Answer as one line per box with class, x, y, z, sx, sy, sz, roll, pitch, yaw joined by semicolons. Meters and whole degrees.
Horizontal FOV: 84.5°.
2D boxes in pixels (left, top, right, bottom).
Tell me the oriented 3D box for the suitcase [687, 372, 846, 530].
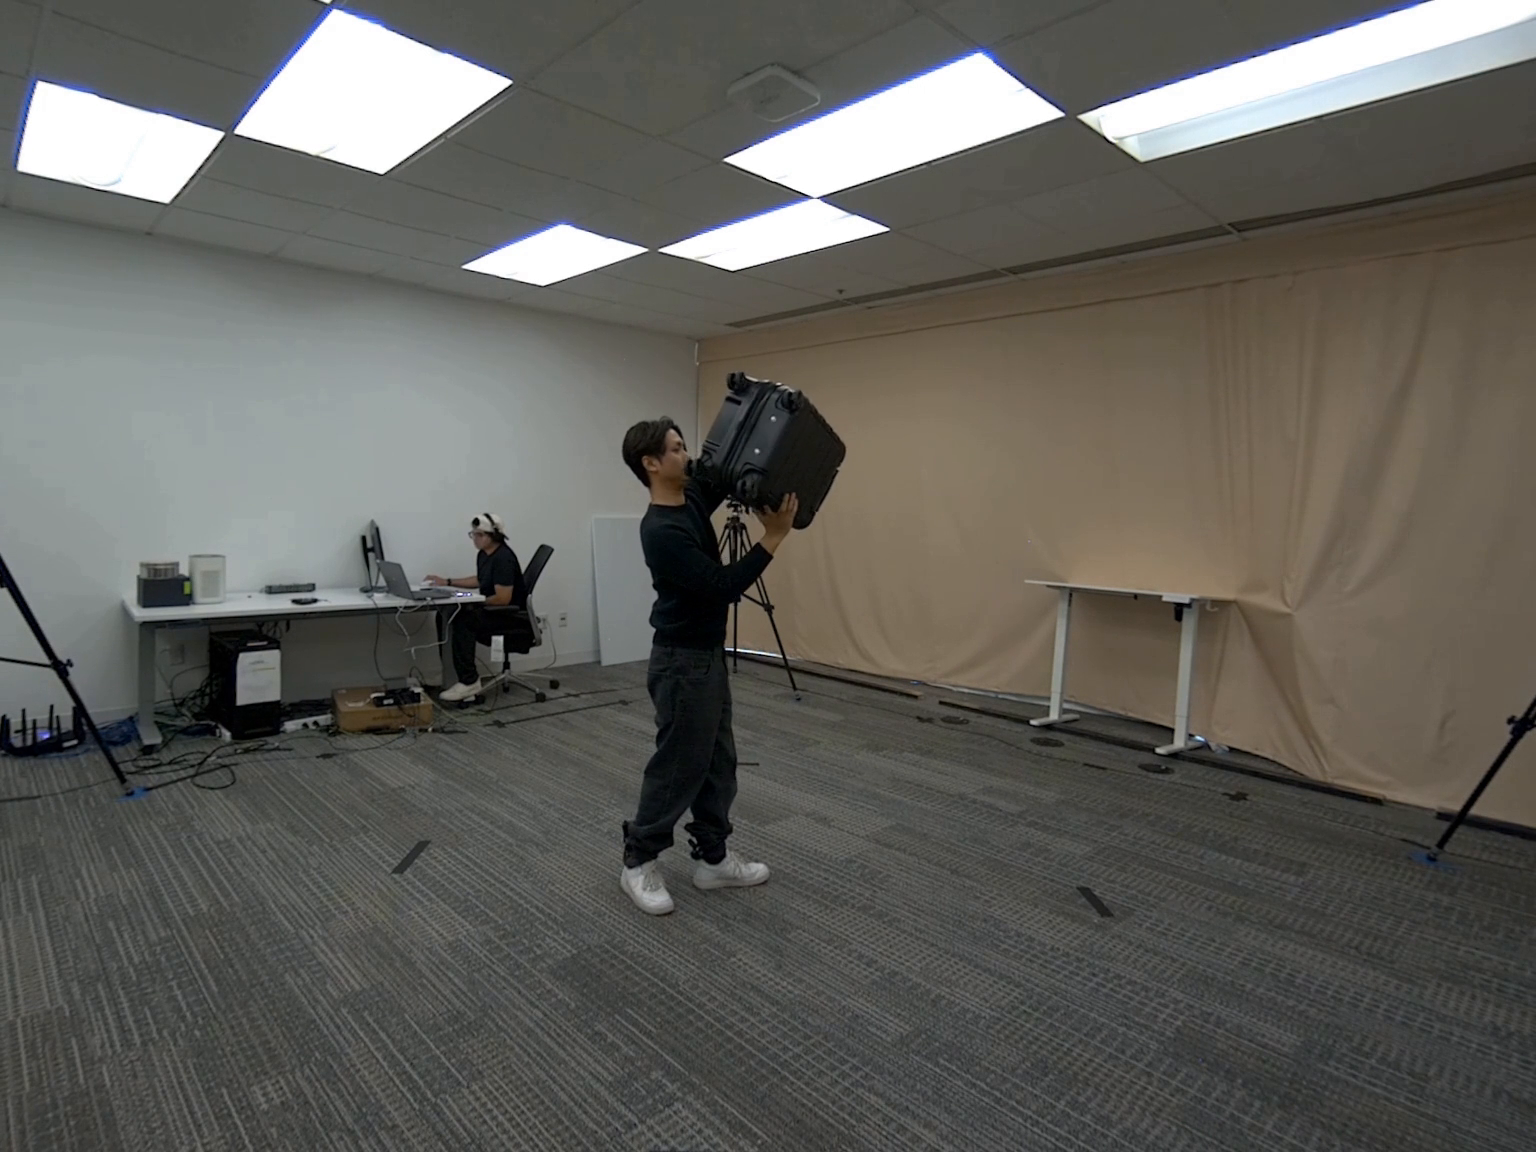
suitcase;0.019;-0.383;2.681;0.254;0.375;0.535;24;-2;26
